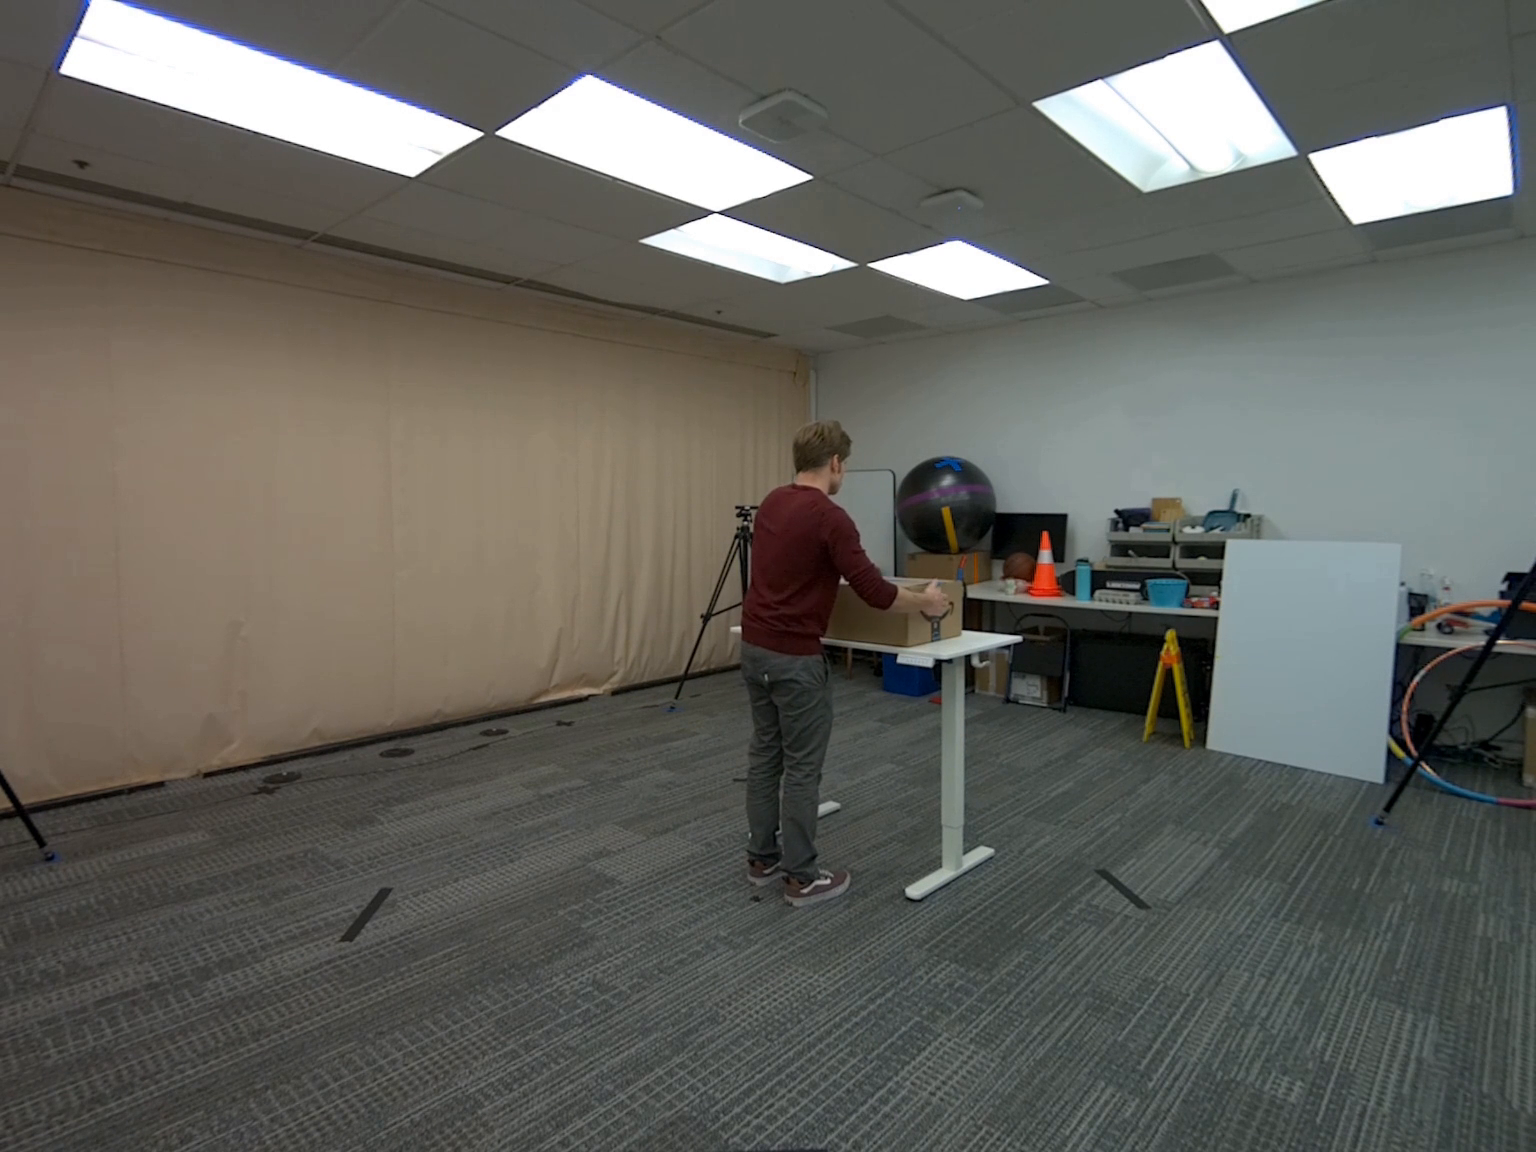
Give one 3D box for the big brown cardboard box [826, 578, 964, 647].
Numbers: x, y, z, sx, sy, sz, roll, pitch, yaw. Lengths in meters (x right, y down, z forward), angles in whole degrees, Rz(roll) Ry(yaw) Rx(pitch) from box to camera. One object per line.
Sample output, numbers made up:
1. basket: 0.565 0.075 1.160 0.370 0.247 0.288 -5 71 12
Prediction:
1. big brown cardboard box: 0.405 0.122 3.322 0.608 0.232 0.405 4 5 40
